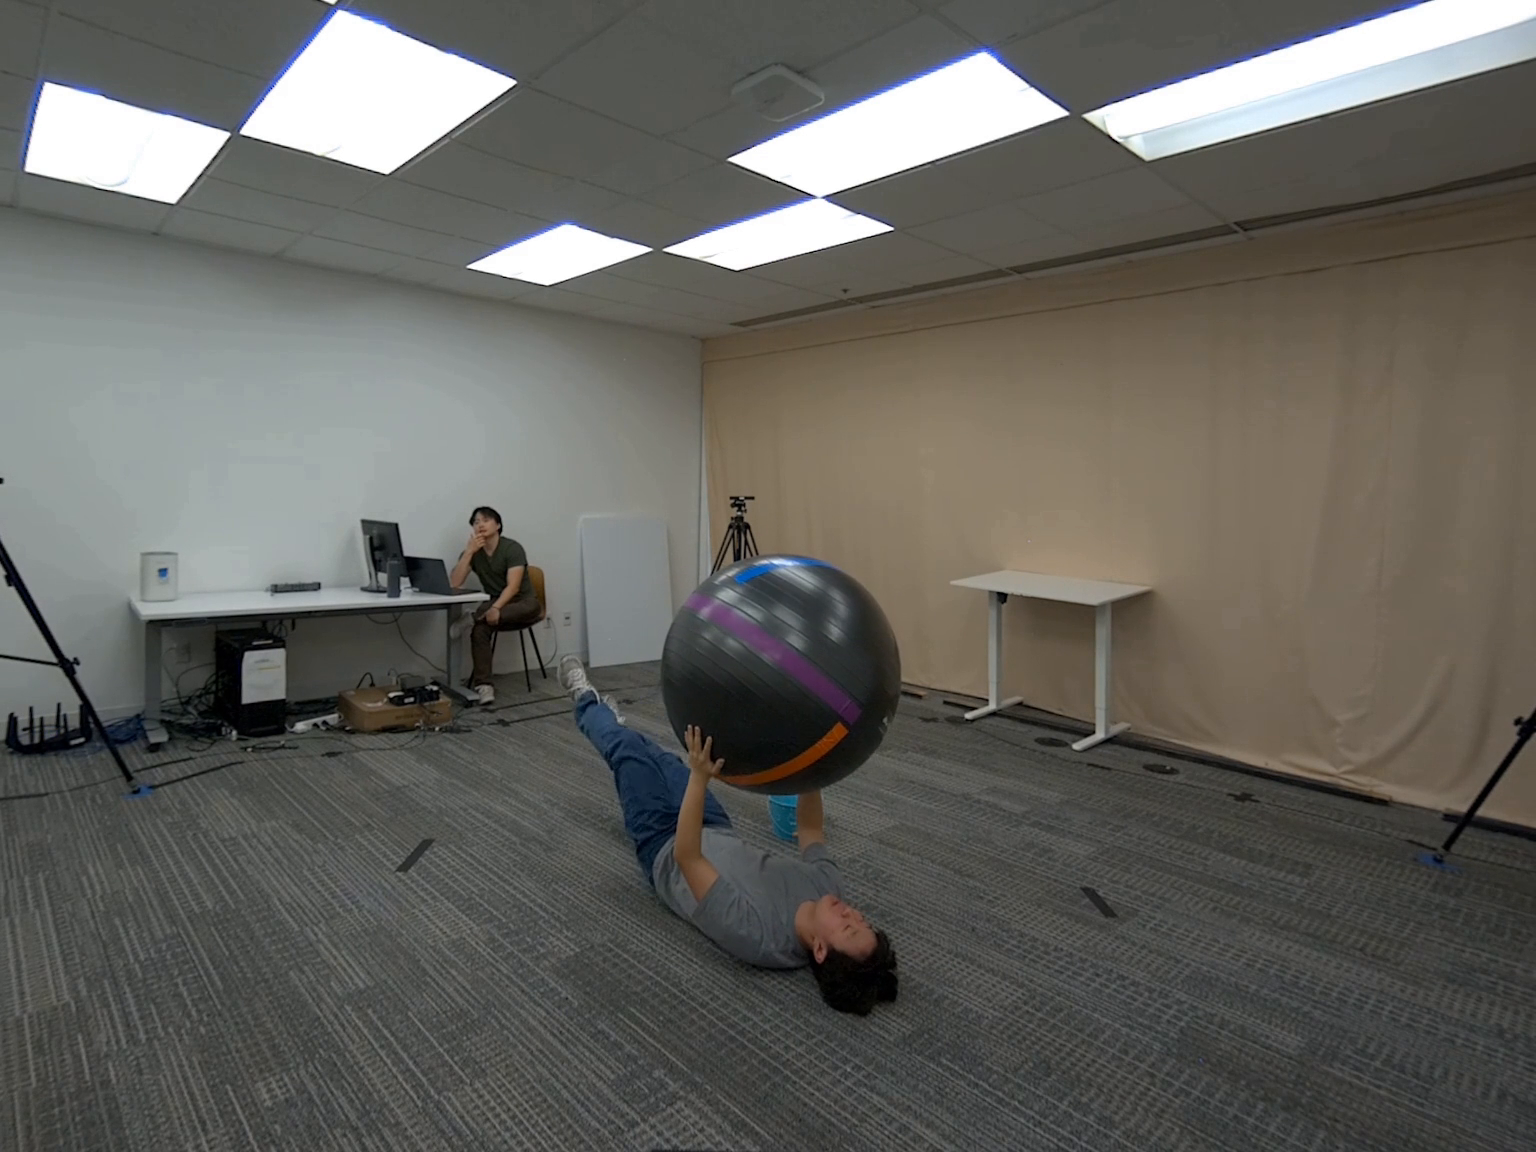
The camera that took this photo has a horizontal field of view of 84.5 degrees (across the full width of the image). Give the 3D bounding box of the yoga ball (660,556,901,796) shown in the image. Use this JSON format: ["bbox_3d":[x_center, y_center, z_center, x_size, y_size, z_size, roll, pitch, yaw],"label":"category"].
[{"bbox_3d":[0.037,0.316,2.684,0.757,0.756,0.761,1,4,-1],"label":"yoga ball"}]
